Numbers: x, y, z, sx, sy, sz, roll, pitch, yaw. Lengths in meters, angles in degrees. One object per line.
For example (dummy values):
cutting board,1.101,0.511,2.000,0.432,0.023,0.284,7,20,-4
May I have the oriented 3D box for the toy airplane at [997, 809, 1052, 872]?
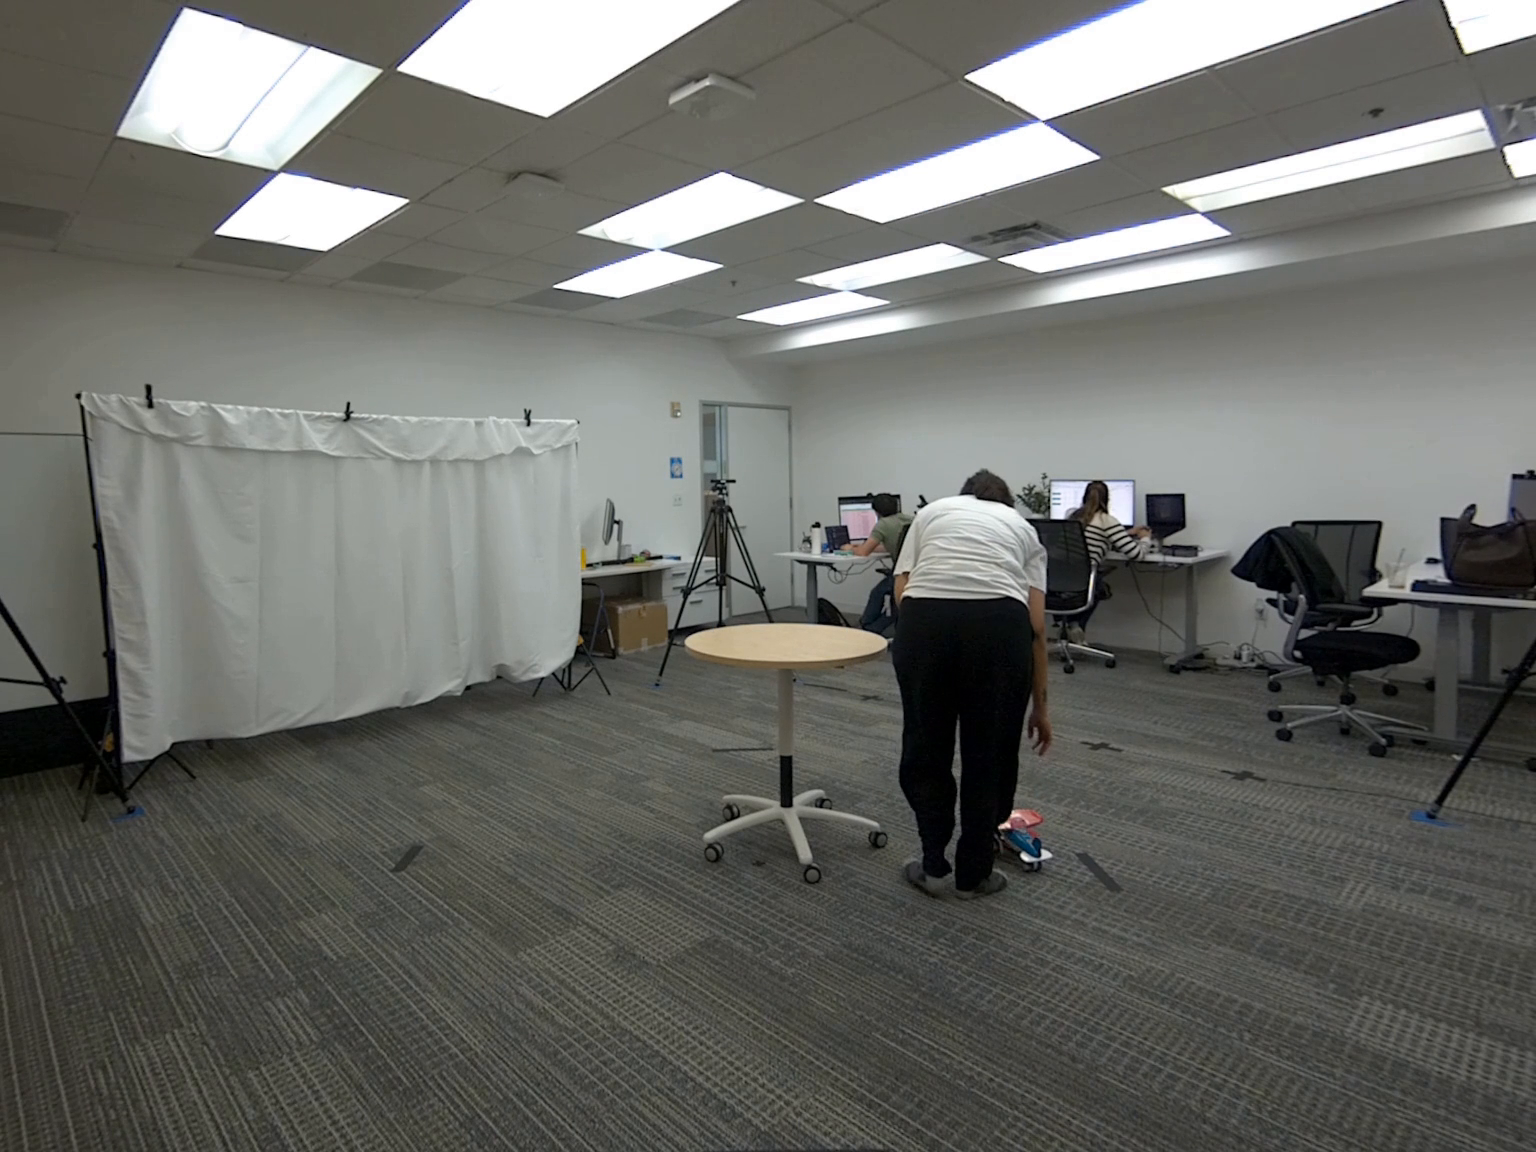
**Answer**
toy airplane,0.921,0.960,3.105,0.267,0.156,0.244,5,6,41
